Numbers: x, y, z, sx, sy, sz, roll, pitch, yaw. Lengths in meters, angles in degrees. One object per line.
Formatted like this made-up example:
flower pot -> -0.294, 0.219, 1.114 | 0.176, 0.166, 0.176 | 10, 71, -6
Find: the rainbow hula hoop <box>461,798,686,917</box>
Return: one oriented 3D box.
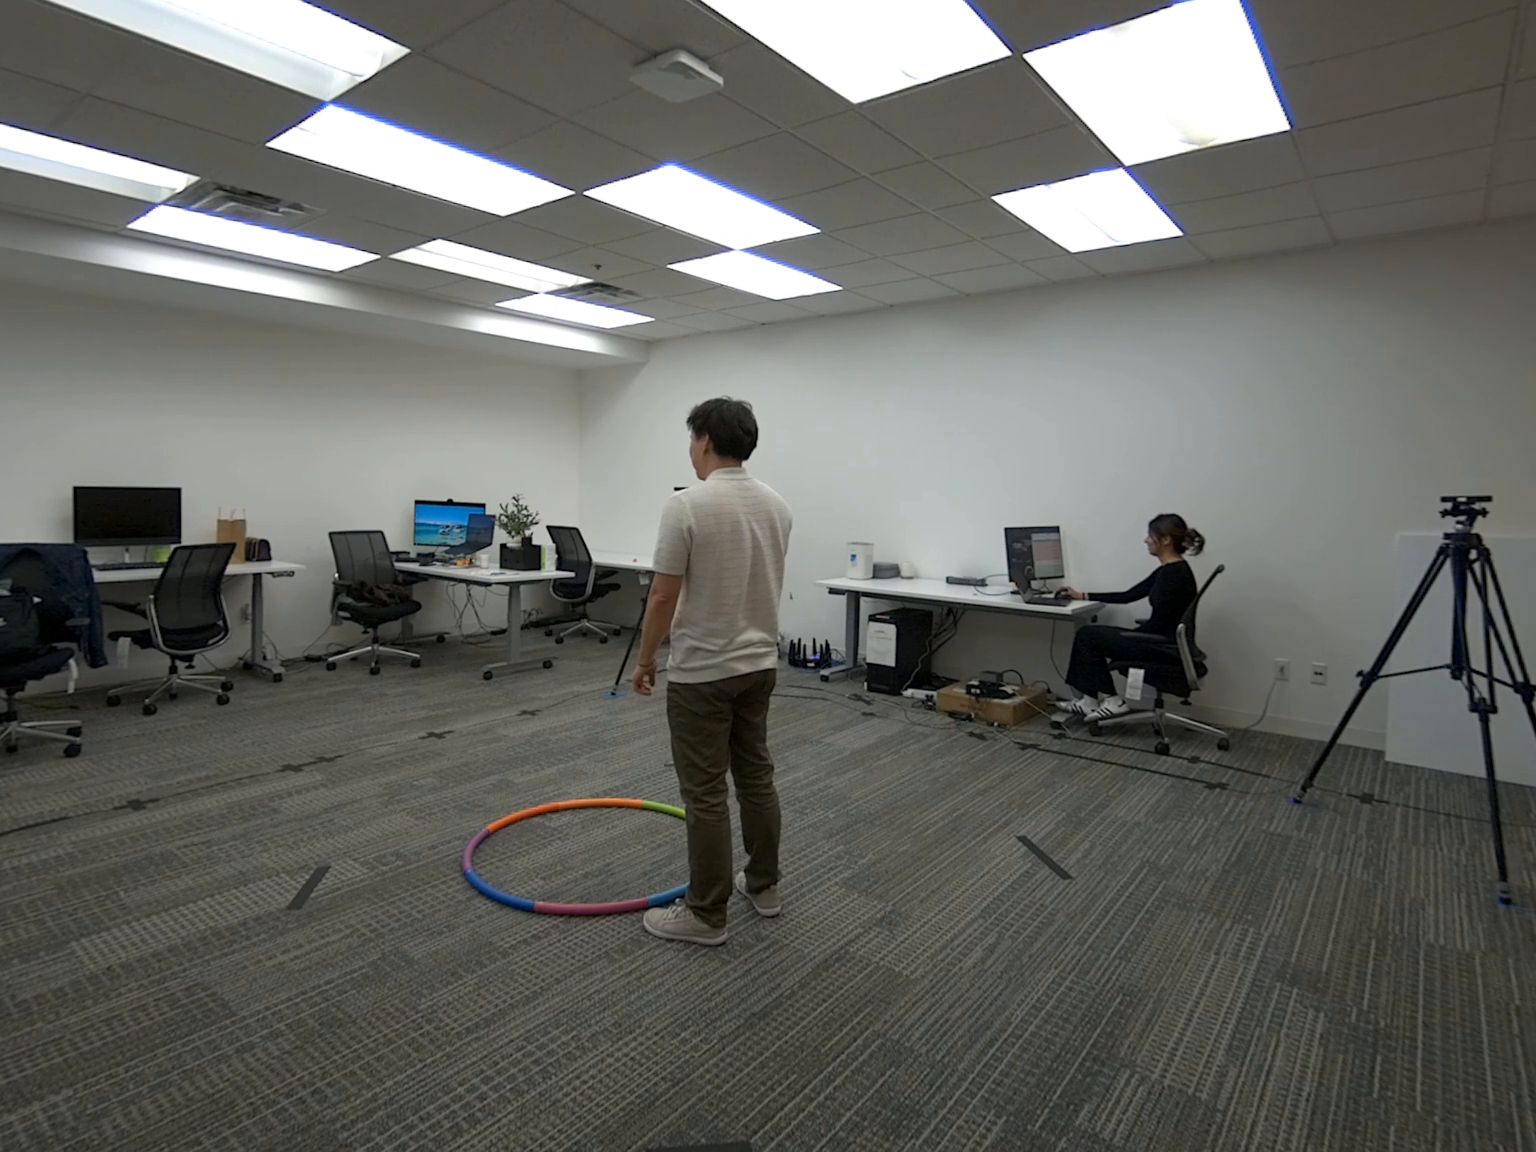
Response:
rainbow hula hoop -> -0.655, 1.018, 3.225 | 0.978, 0.035, 0.984 | 1, 5, -2
